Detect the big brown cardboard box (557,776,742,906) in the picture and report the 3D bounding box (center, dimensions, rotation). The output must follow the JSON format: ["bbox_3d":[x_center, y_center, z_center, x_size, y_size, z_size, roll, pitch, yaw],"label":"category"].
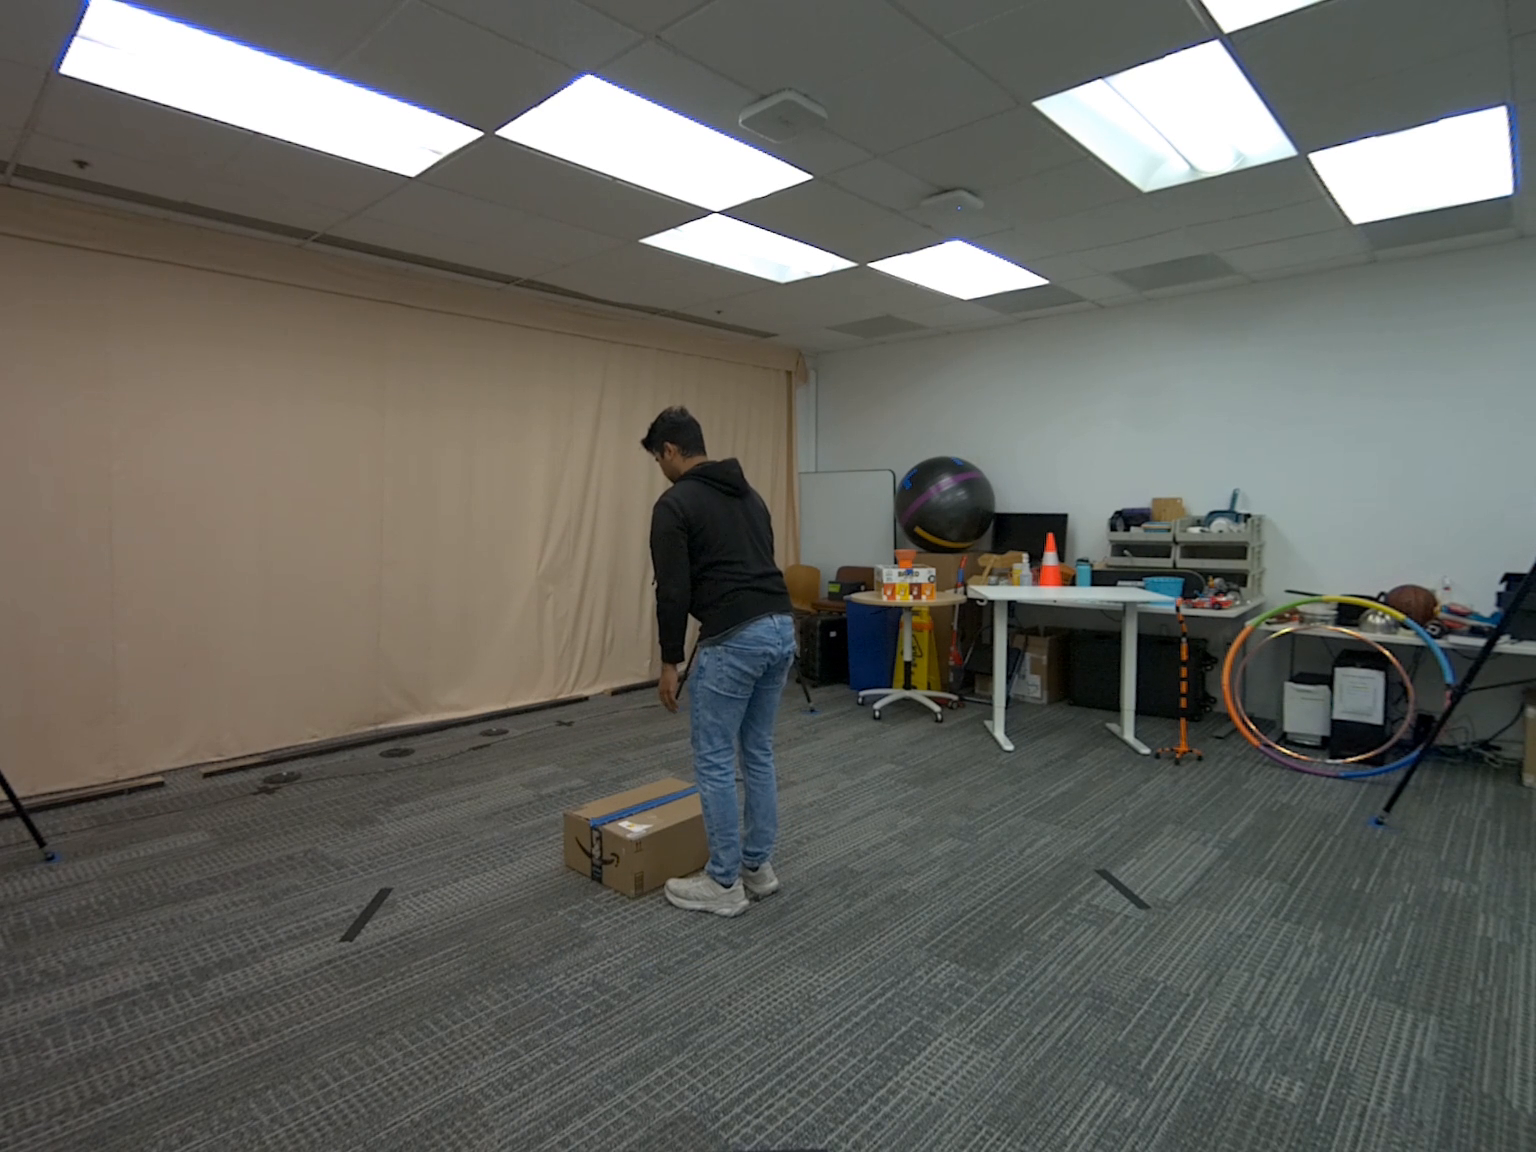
[{"bbox_3d":[-0.458,1.010,3.319,0.431,0.233,0.571,3,5,42],"label":"big brown cardboard box"}]
